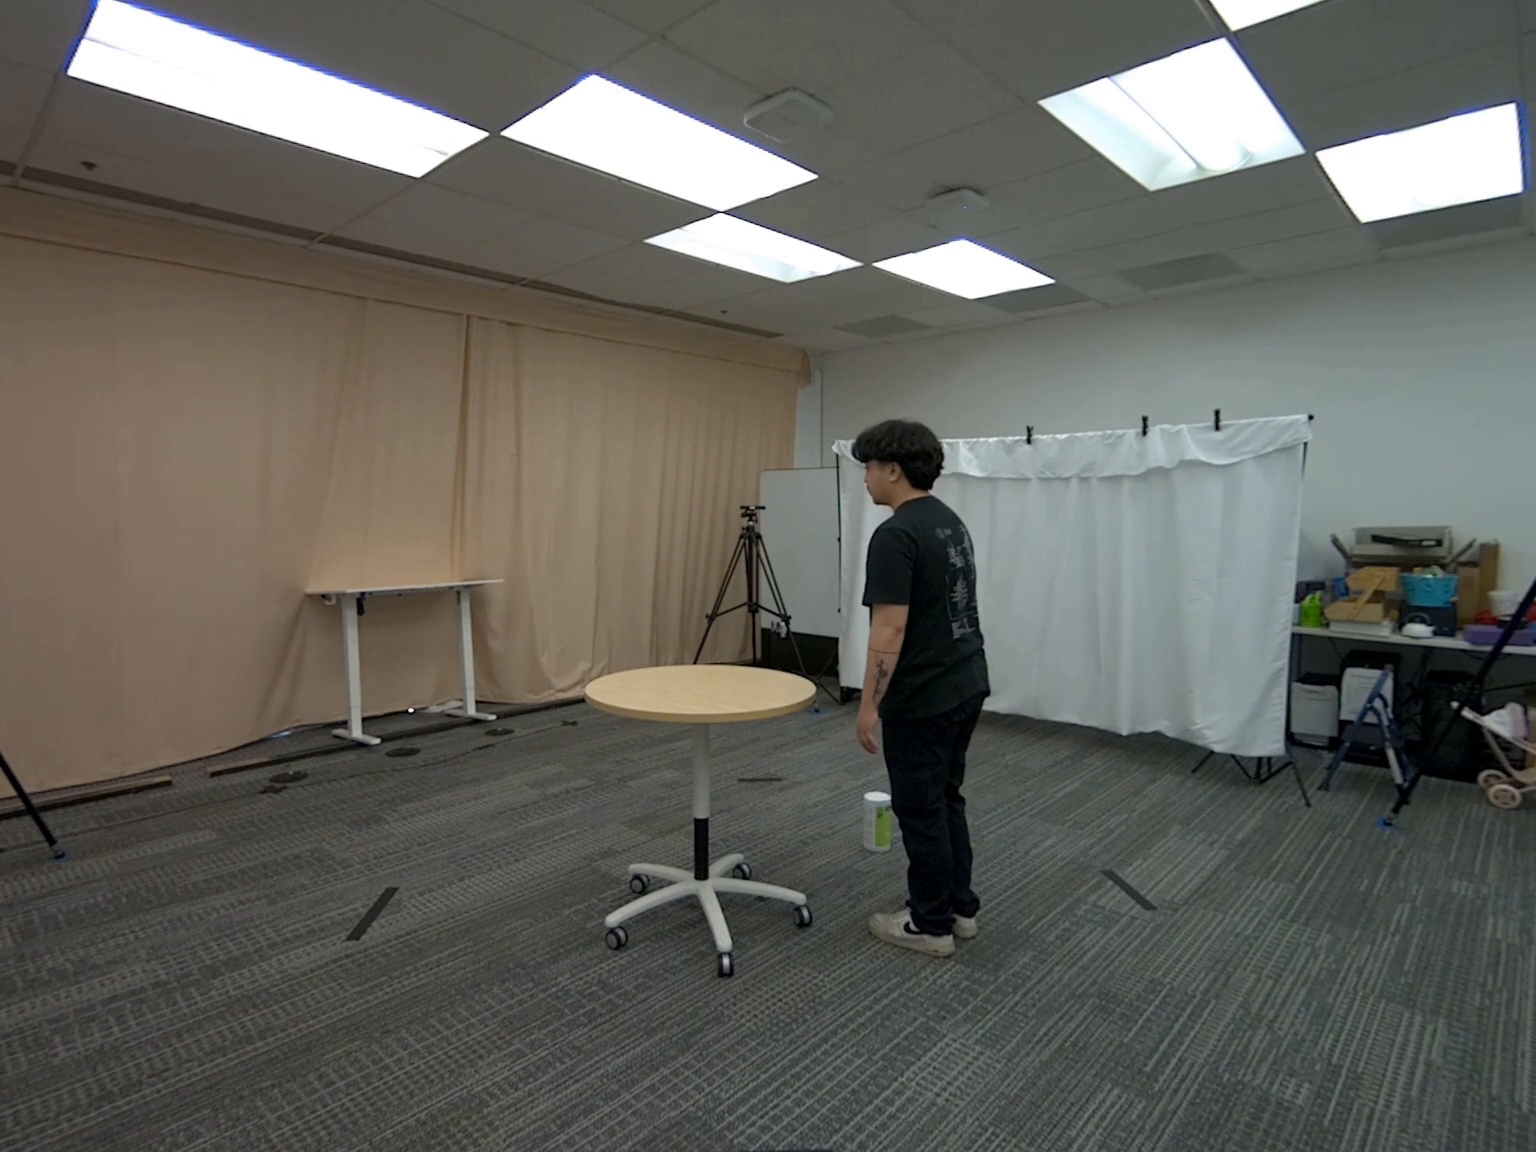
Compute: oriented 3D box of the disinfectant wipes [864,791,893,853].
[{"bbox_3d":[0.442,0.991,3.426,0.118,0.217,0.118,0,3,-2],"label":"disinfectant wipes"}]
